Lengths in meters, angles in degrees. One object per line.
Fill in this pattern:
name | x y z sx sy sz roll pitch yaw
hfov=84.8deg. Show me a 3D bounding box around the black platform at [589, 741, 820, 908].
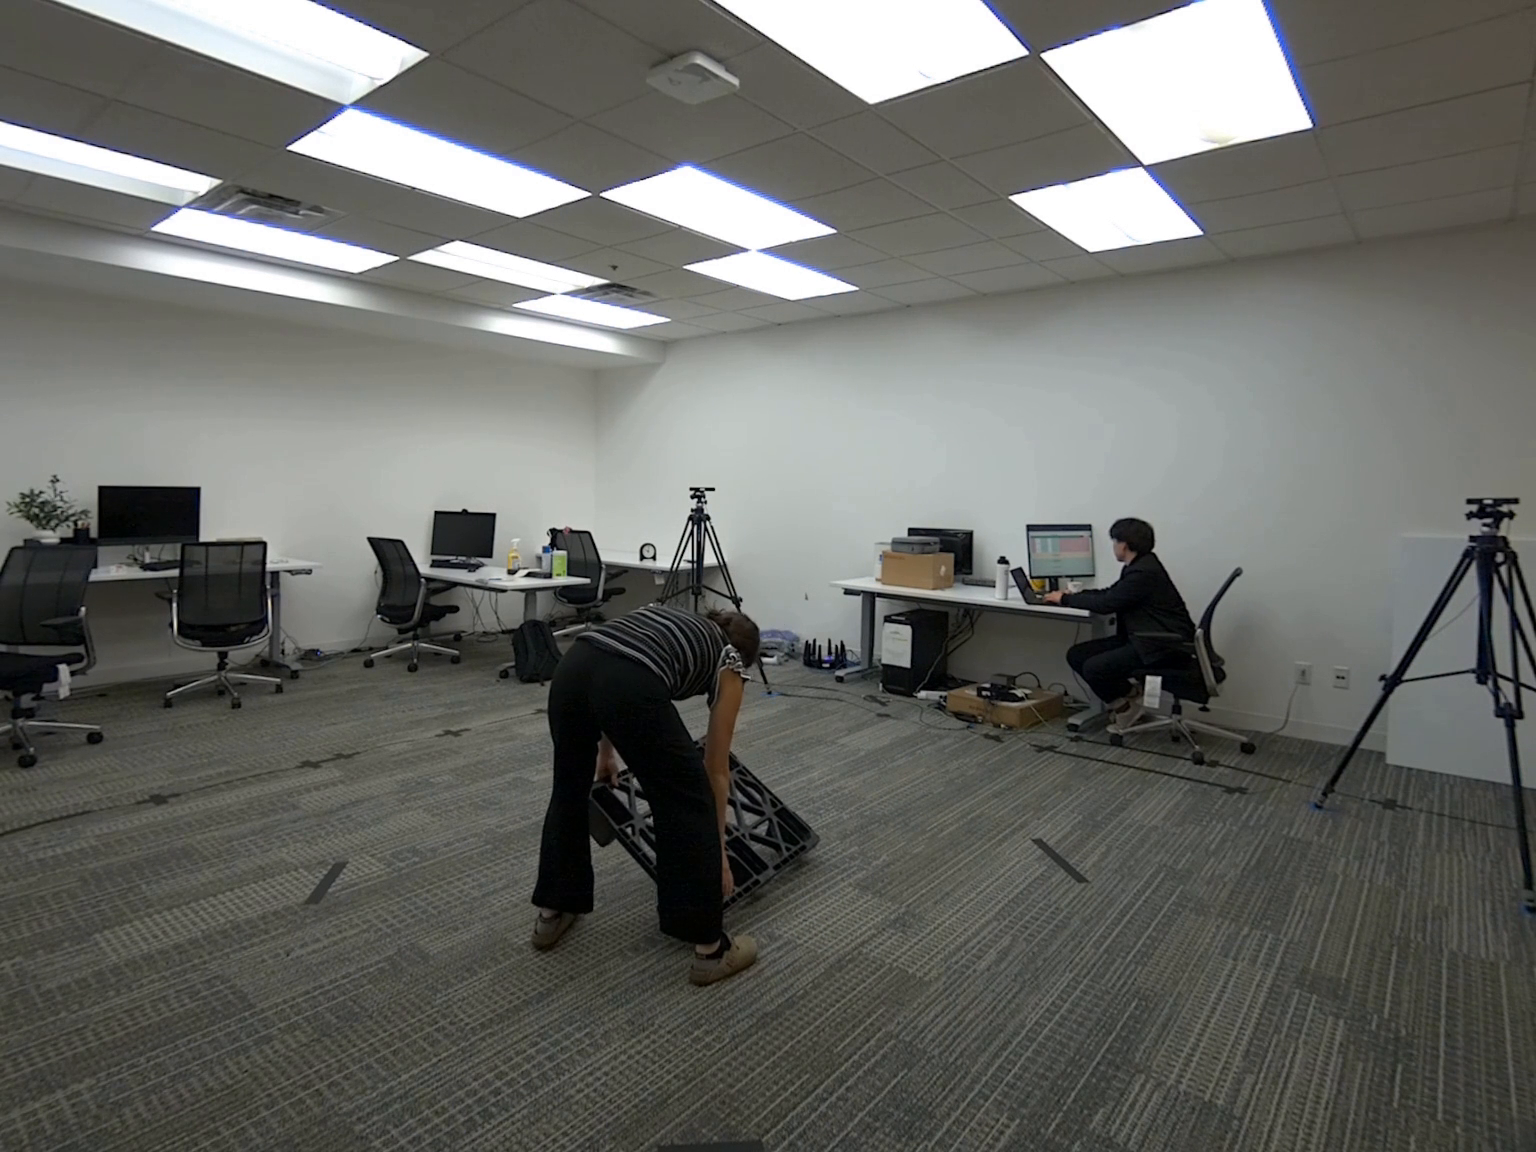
black platform | -0.250 0.893 3.025 0.626 0.142 0.784 37 21 24
